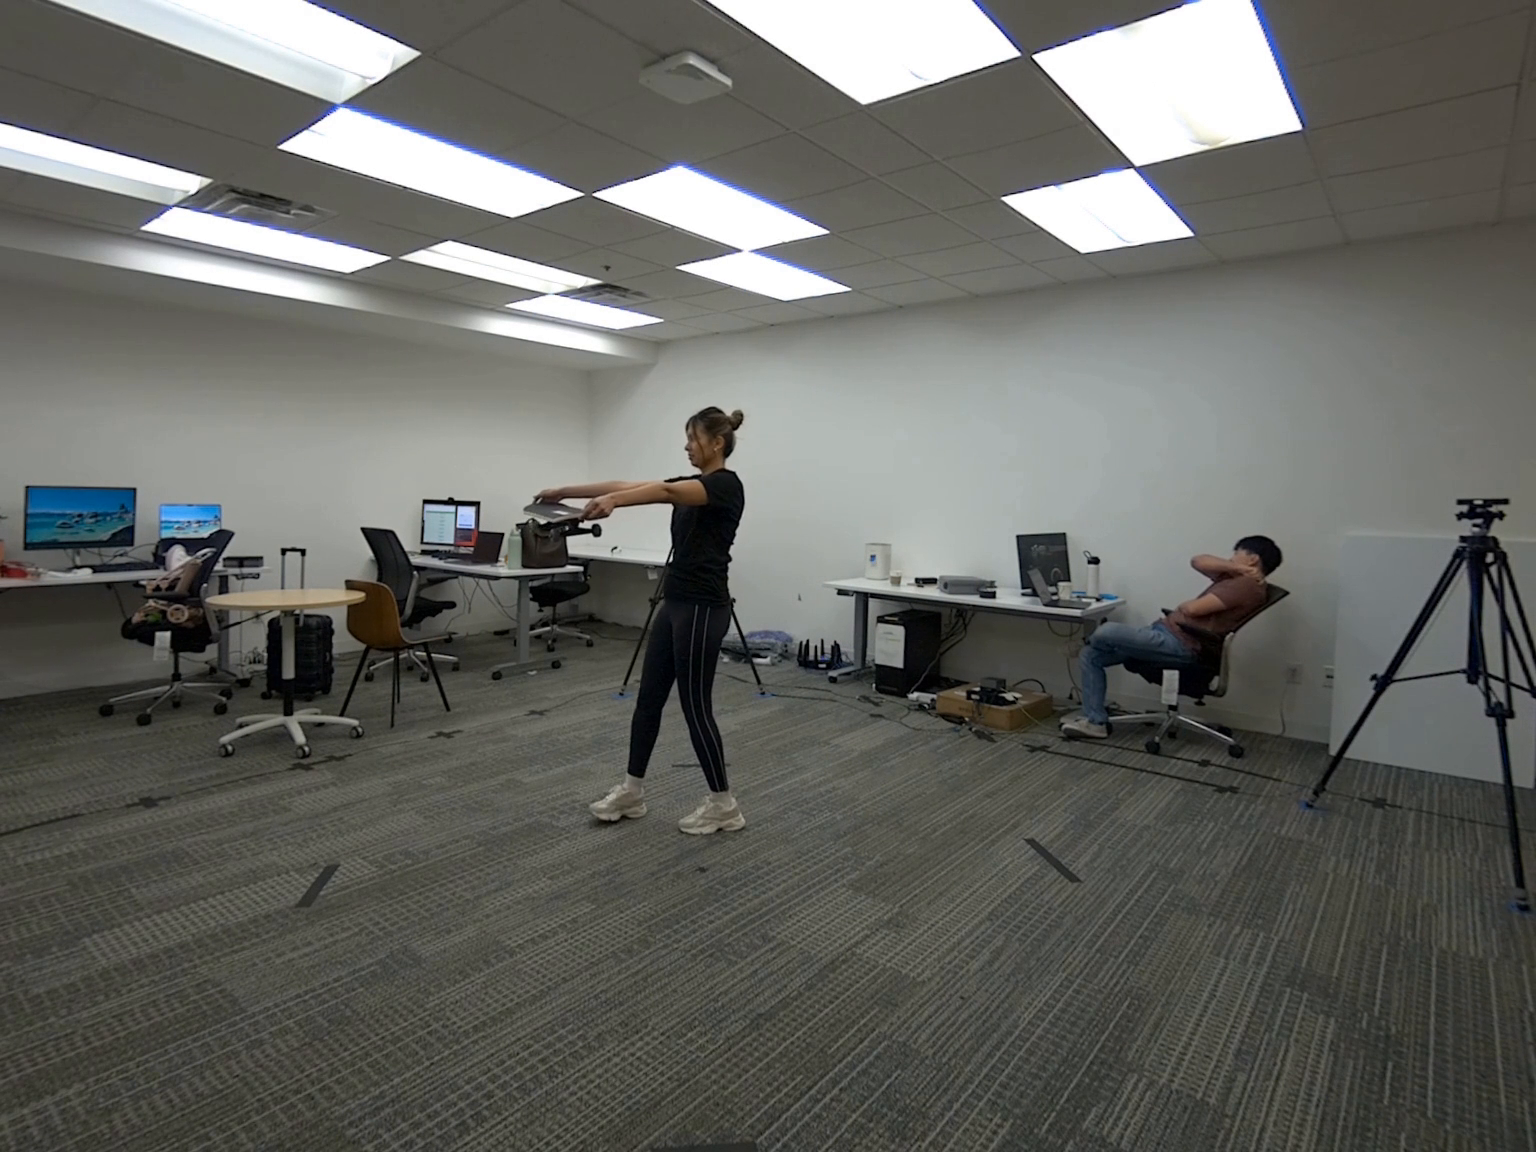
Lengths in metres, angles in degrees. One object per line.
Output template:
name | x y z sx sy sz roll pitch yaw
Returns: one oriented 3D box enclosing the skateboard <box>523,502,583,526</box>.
skateboard | -0.814 -0.213 3.268 0.190 0.109 0.807 -11 11 -23
